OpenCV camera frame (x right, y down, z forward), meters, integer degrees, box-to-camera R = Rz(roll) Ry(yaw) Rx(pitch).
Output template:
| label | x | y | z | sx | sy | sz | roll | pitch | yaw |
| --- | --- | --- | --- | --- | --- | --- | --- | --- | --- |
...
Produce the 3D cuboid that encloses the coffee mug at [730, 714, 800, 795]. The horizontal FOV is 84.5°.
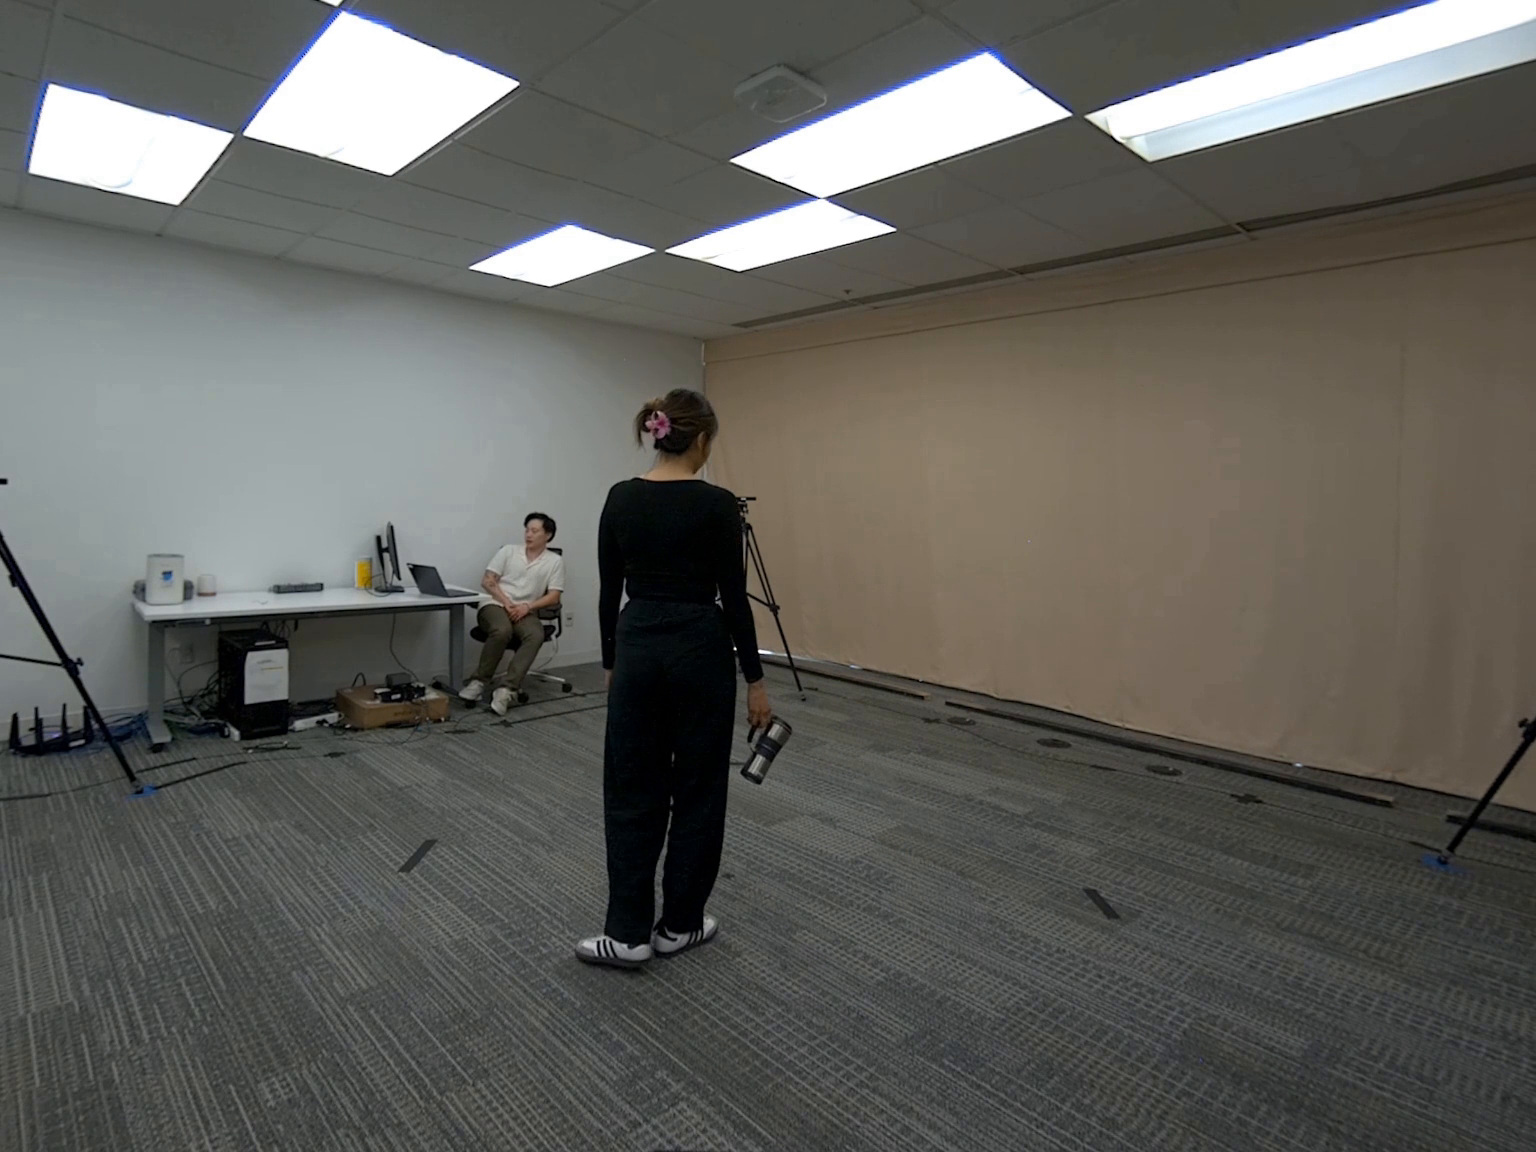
| label | x | y | z | sx | sy | sz | roll | pitch | yaw |
| --- | --- | --- | --- | --- | --- | --- | --- | --- | --- |
| coffee mug | -0.023 | 0.530 | 2.569 | 0.090 | 0.203 | 0.118 | 14 | -27 | 51 |
